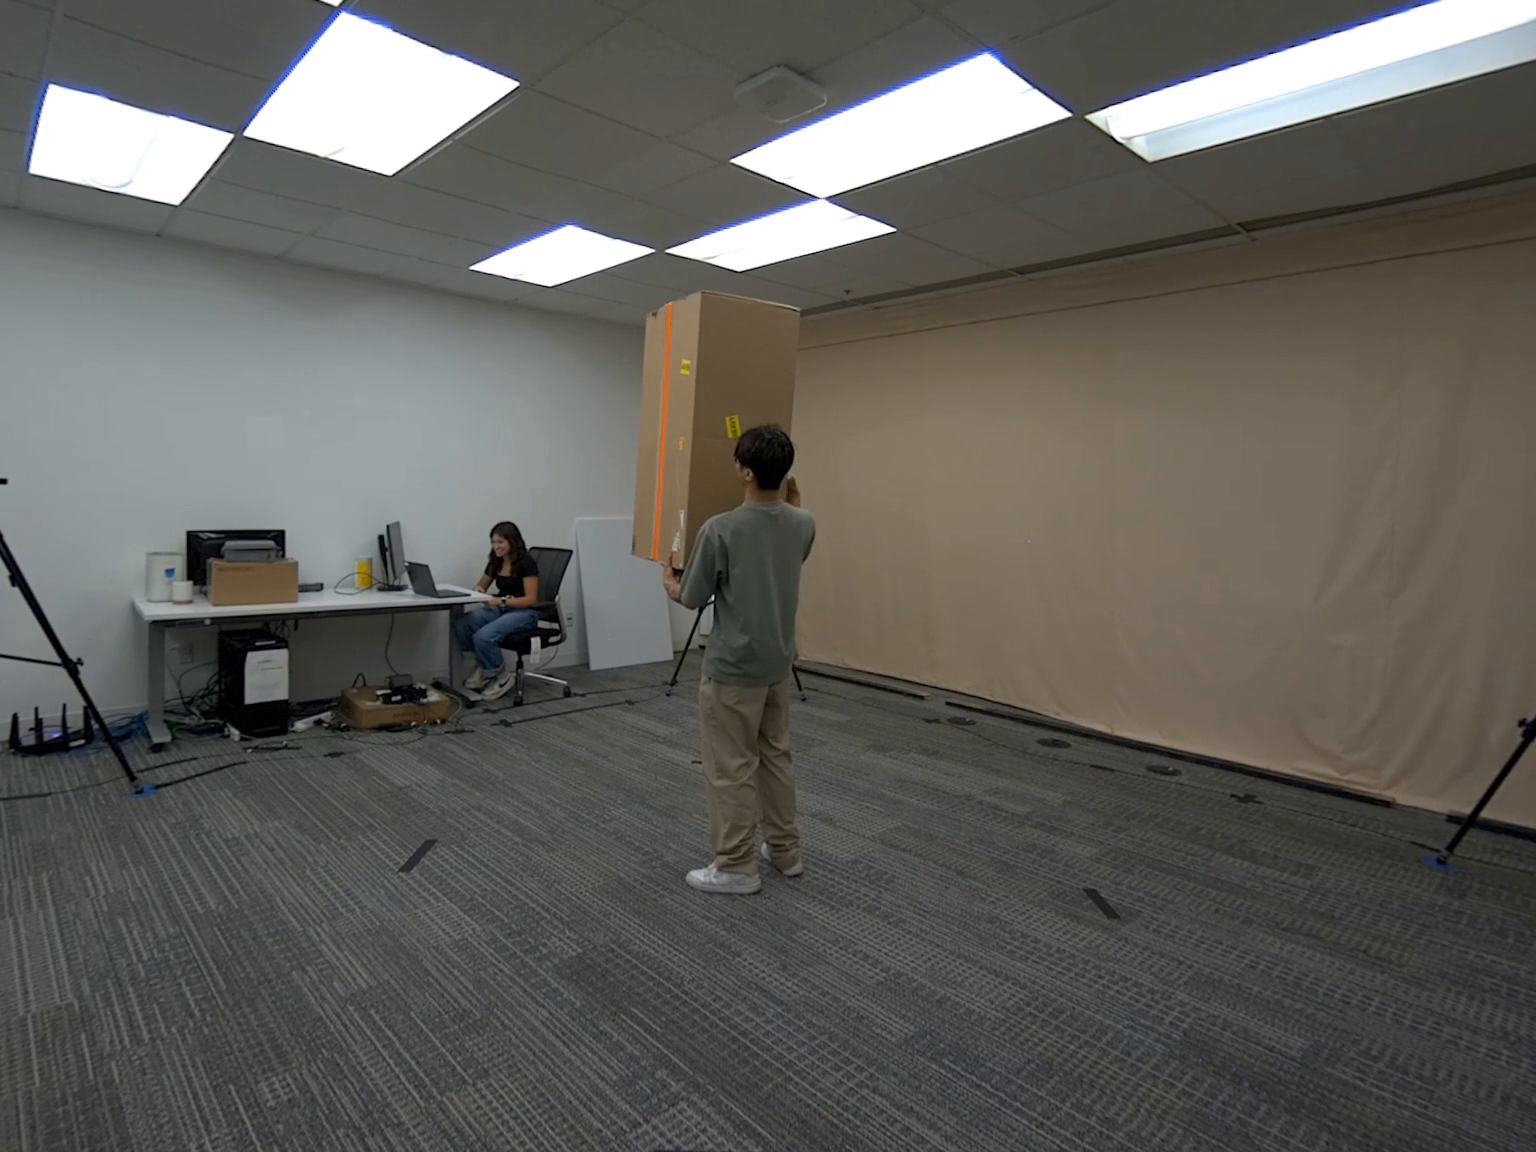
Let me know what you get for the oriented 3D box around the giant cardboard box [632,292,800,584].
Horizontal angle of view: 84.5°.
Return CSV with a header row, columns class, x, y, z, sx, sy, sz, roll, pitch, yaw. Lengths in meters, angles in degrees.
class,x,y,z,sx,sy,sz,roll,pitch,yaw
giant cardboard box,-0.240,-0.552,3.426,0.417,1.023,0.591,2,5,-29
